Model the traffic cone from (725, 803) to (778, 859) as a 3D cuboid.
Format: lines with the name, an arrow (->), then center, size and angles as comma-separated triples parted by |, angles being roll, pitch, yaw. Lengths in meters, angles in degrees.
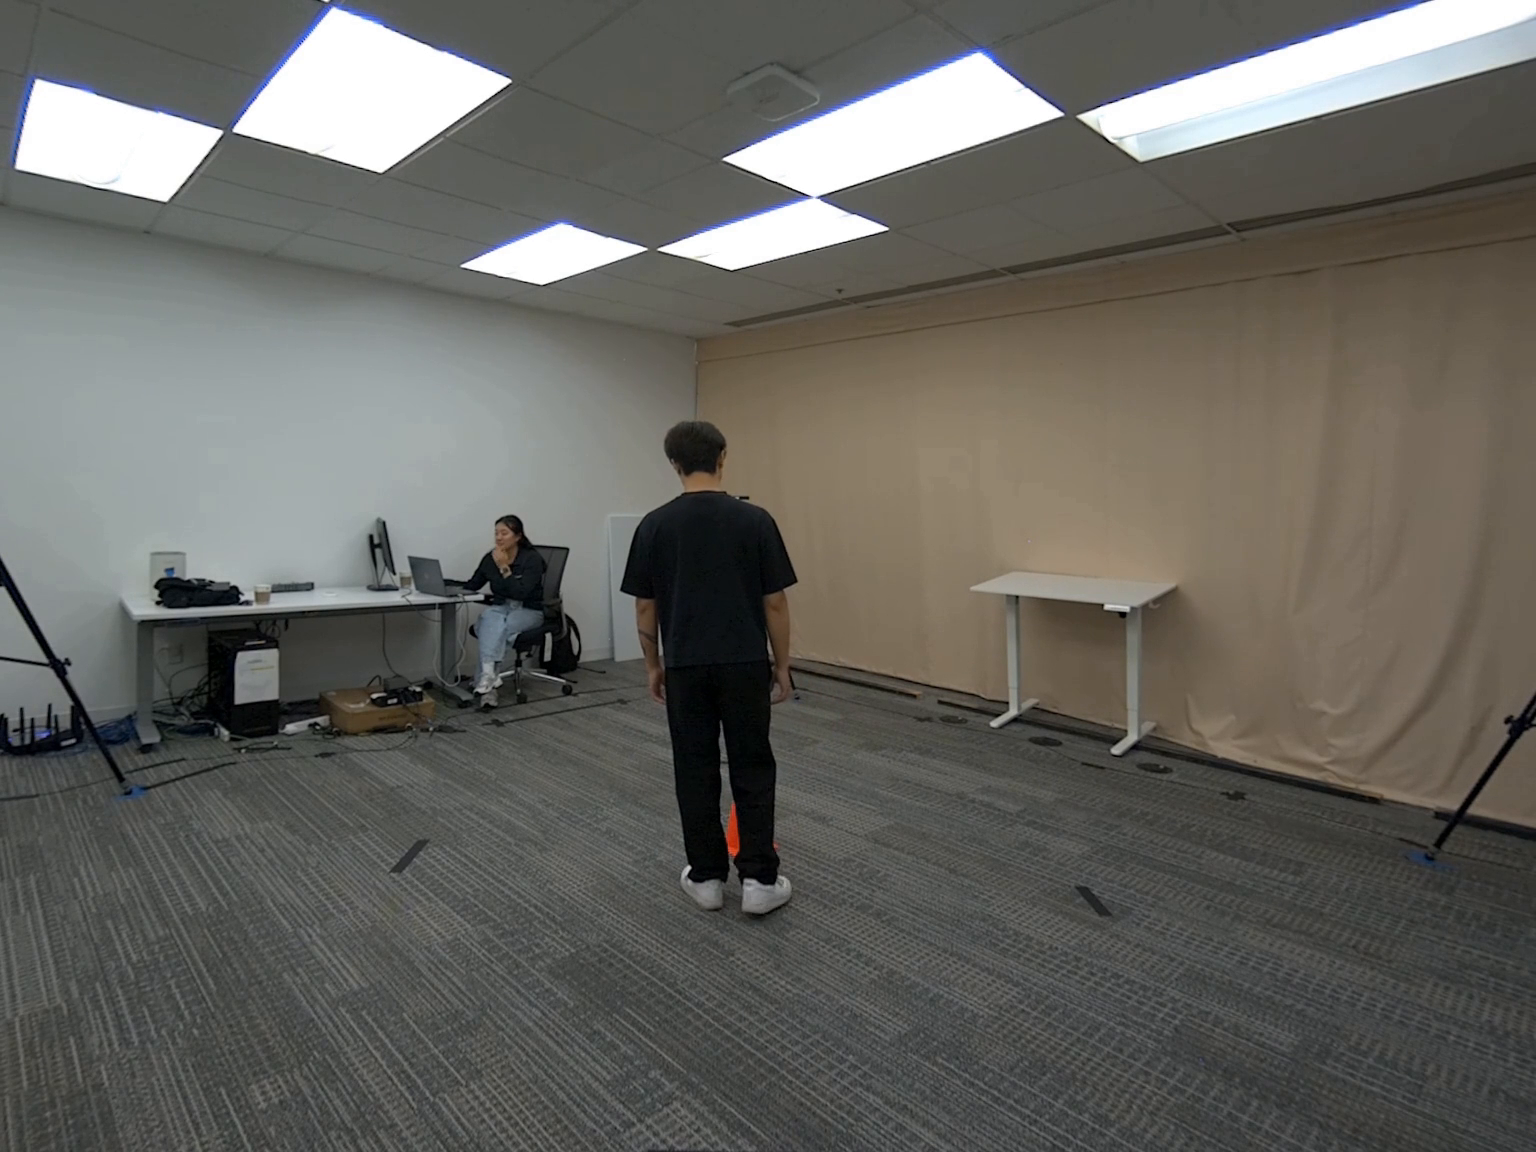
traffic cone -> -0.089, 0.901, 3.396 | 0.200, 0.383, 0.208 | 2, 3, -33
